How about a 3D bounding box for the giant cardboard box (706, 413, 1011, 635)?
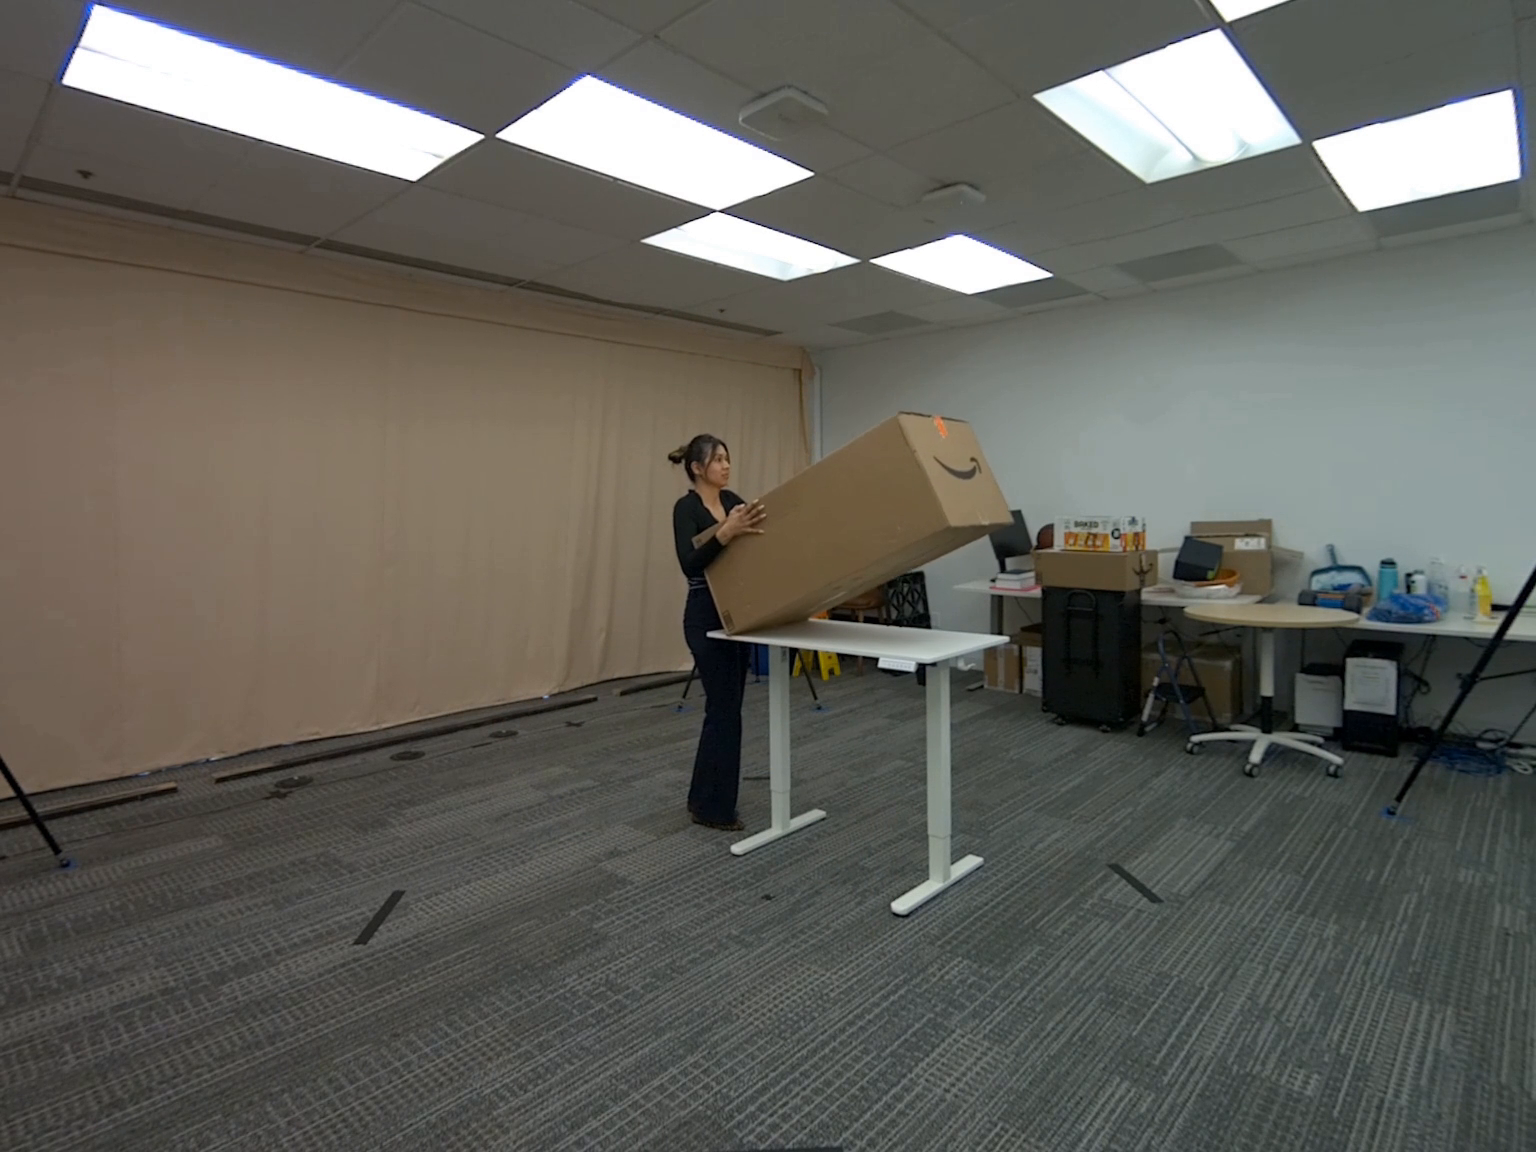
[{"bbox_3d":[0.307,-0.165,3.239,1.044,0.431,0.560,-29,-14,36],"label":"giant cardboard box"}]
